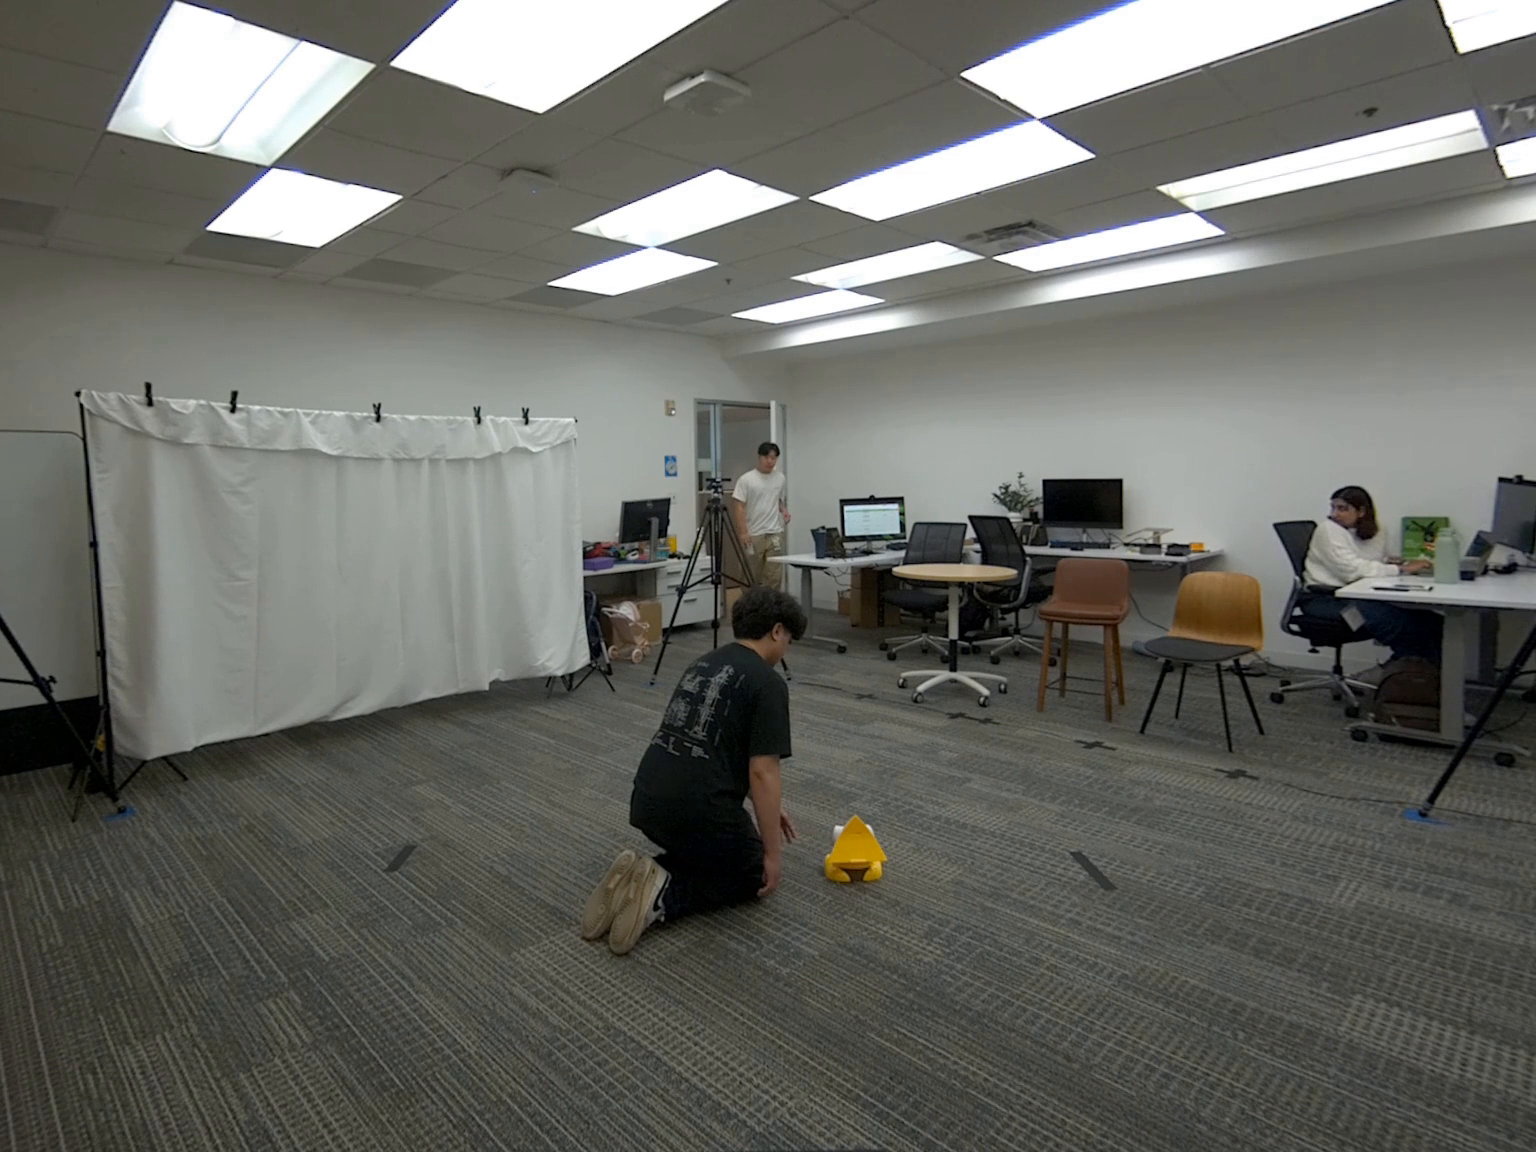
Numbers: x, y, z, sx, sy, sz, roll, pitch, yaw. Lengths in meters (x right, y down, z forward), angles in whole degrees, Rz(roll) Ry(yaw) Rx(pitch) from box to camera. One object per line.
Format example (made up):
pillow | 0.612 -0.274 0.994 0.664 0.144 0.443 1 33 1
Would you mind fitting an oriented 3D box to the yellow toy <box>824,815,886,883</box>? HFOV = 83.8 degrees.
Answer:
yellow toy | 0.306 0.936 3.008 0.204 0.230 0.194 0 5 -3
